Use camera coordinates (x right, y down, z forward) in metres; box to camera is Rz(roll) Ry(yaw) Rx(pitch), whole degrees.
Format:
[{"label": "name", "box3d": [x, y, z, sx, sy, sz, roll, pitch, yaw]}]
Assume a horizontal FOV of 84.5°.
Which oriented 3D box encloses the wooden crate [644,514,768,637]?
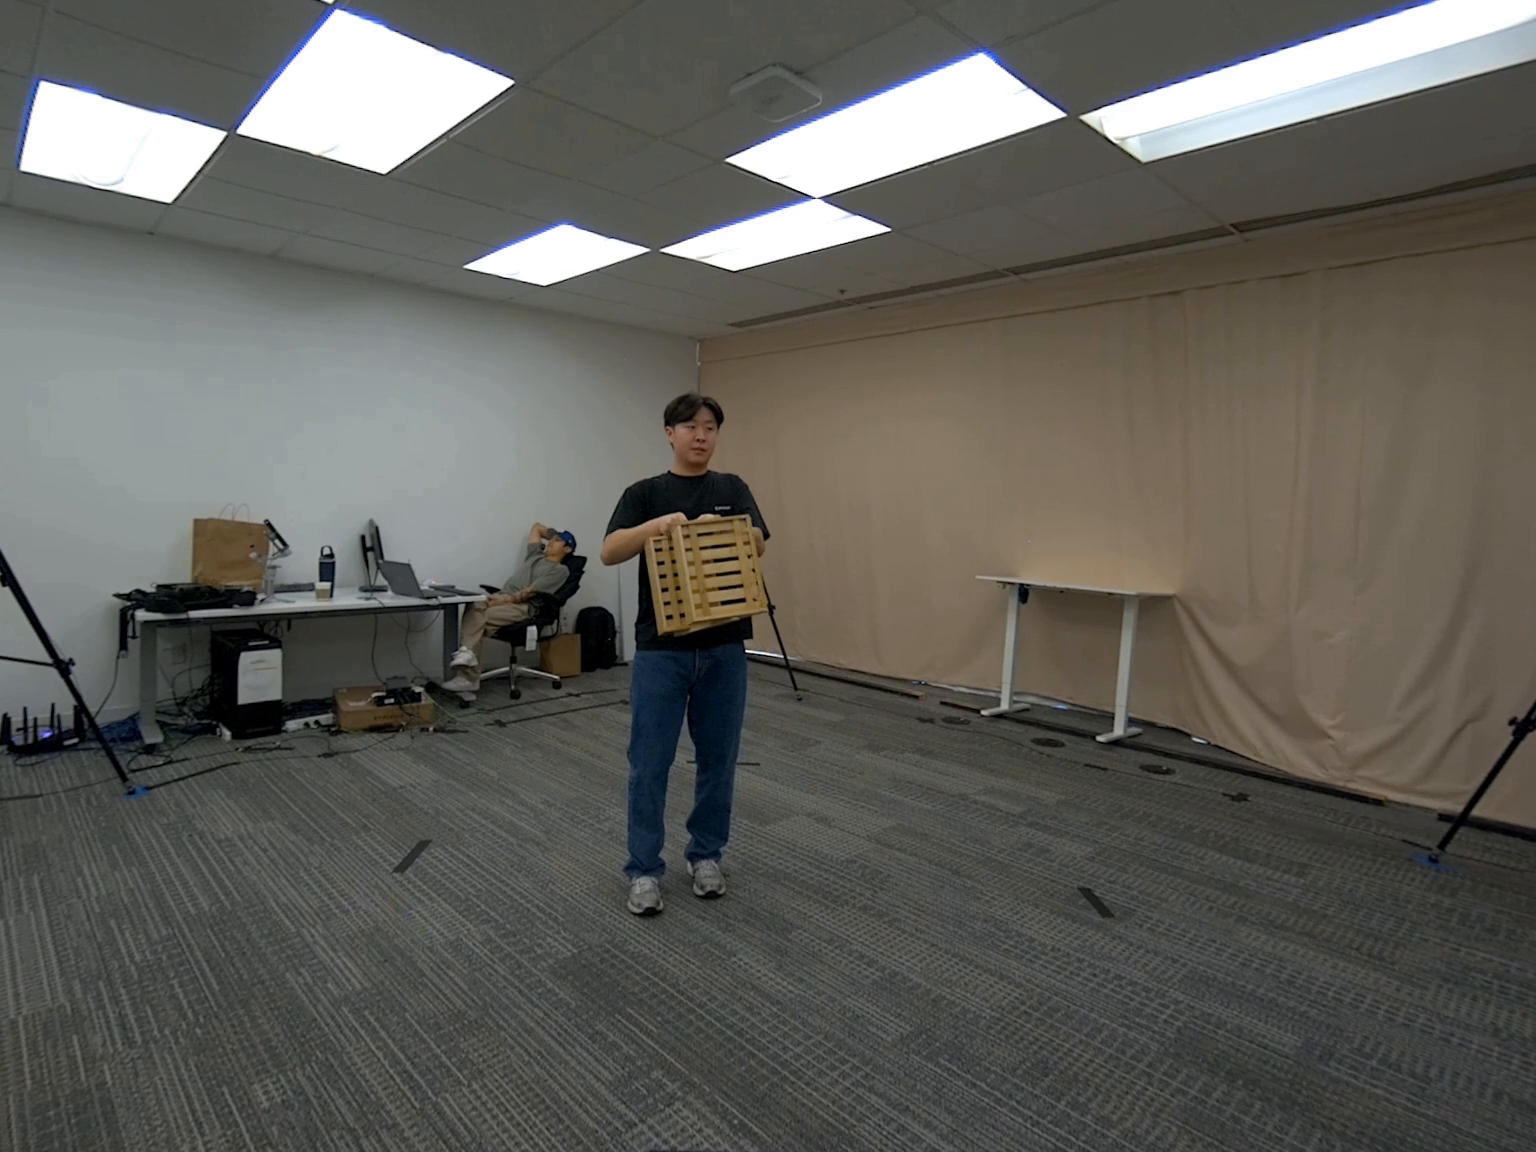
[{"label": "wooden crate", "box3d": [-0.207, -0.002, 2.632, 0.298, 0.327, 0.274, -7, -10, -20]}]
